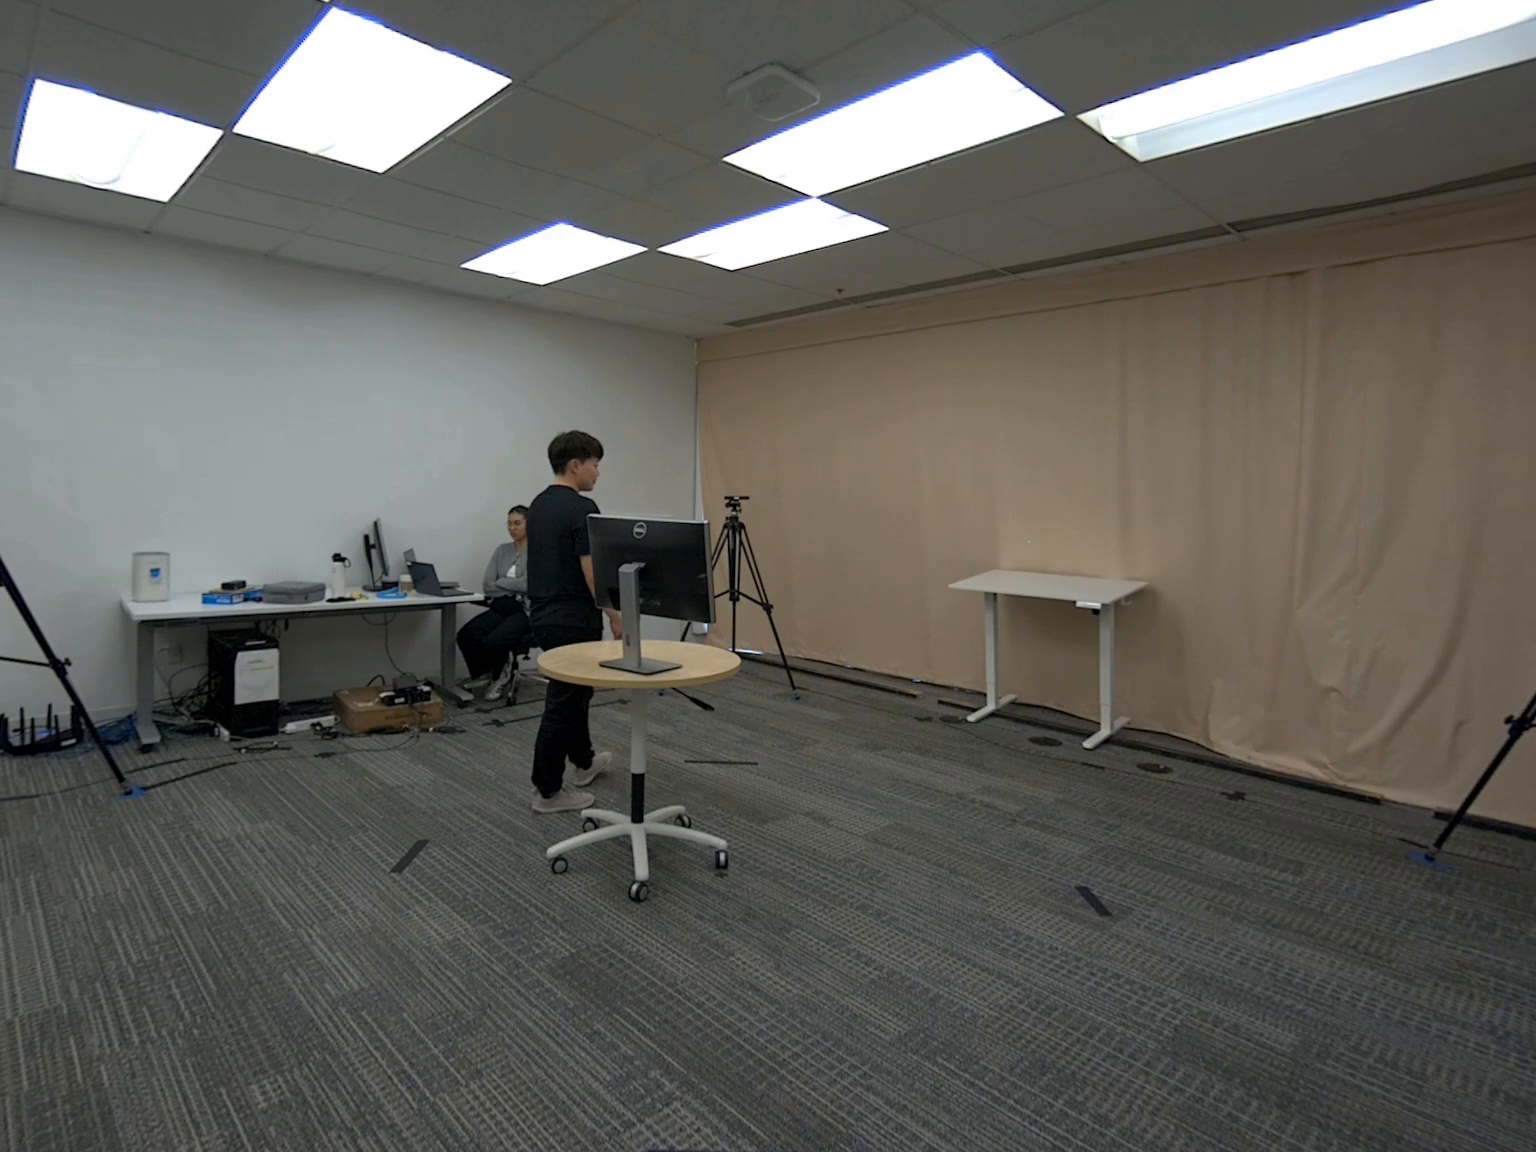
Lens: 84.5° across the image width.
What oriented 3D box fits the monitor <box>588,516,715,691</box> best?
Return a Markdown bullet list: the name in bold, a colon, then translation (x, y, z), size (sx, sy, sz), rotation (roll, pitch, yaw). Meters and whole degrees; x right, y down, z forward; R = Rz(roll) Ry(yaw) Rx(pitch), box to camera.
- **monitor**: translation (-0.460, 0.067, 3.022), size (0.551, 0.521, 0.183), rotation (5, 3, 32)
